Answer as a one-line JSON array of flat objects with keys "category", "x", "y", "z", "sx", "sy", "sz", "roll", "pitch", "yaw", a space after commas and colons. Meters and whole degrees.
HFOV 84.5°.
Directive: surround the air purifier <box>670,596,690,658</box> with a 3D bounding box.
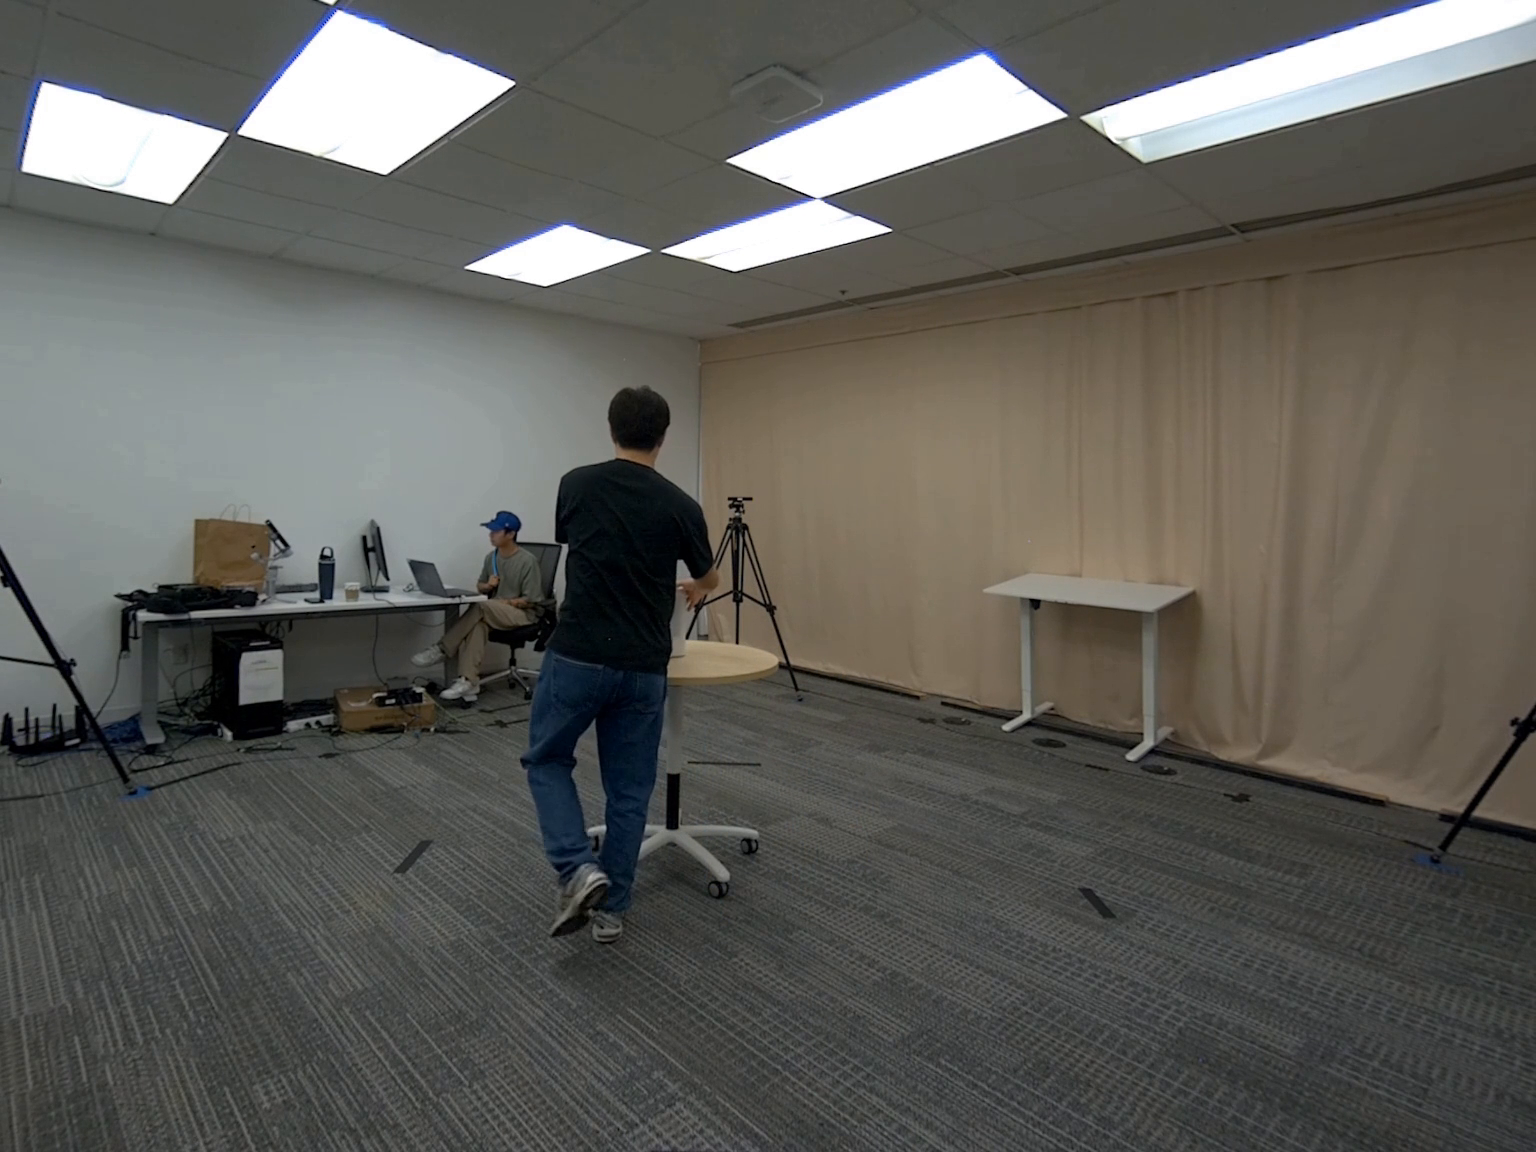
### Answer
[{"category": "air purifier", "x": -0.416, "y": 0.169, "z": 3.191, "sx": 0.168, "sy": 0.265, "sz": 0.174, "roll": 0, "pitch": 2, "yaw": -24}]
